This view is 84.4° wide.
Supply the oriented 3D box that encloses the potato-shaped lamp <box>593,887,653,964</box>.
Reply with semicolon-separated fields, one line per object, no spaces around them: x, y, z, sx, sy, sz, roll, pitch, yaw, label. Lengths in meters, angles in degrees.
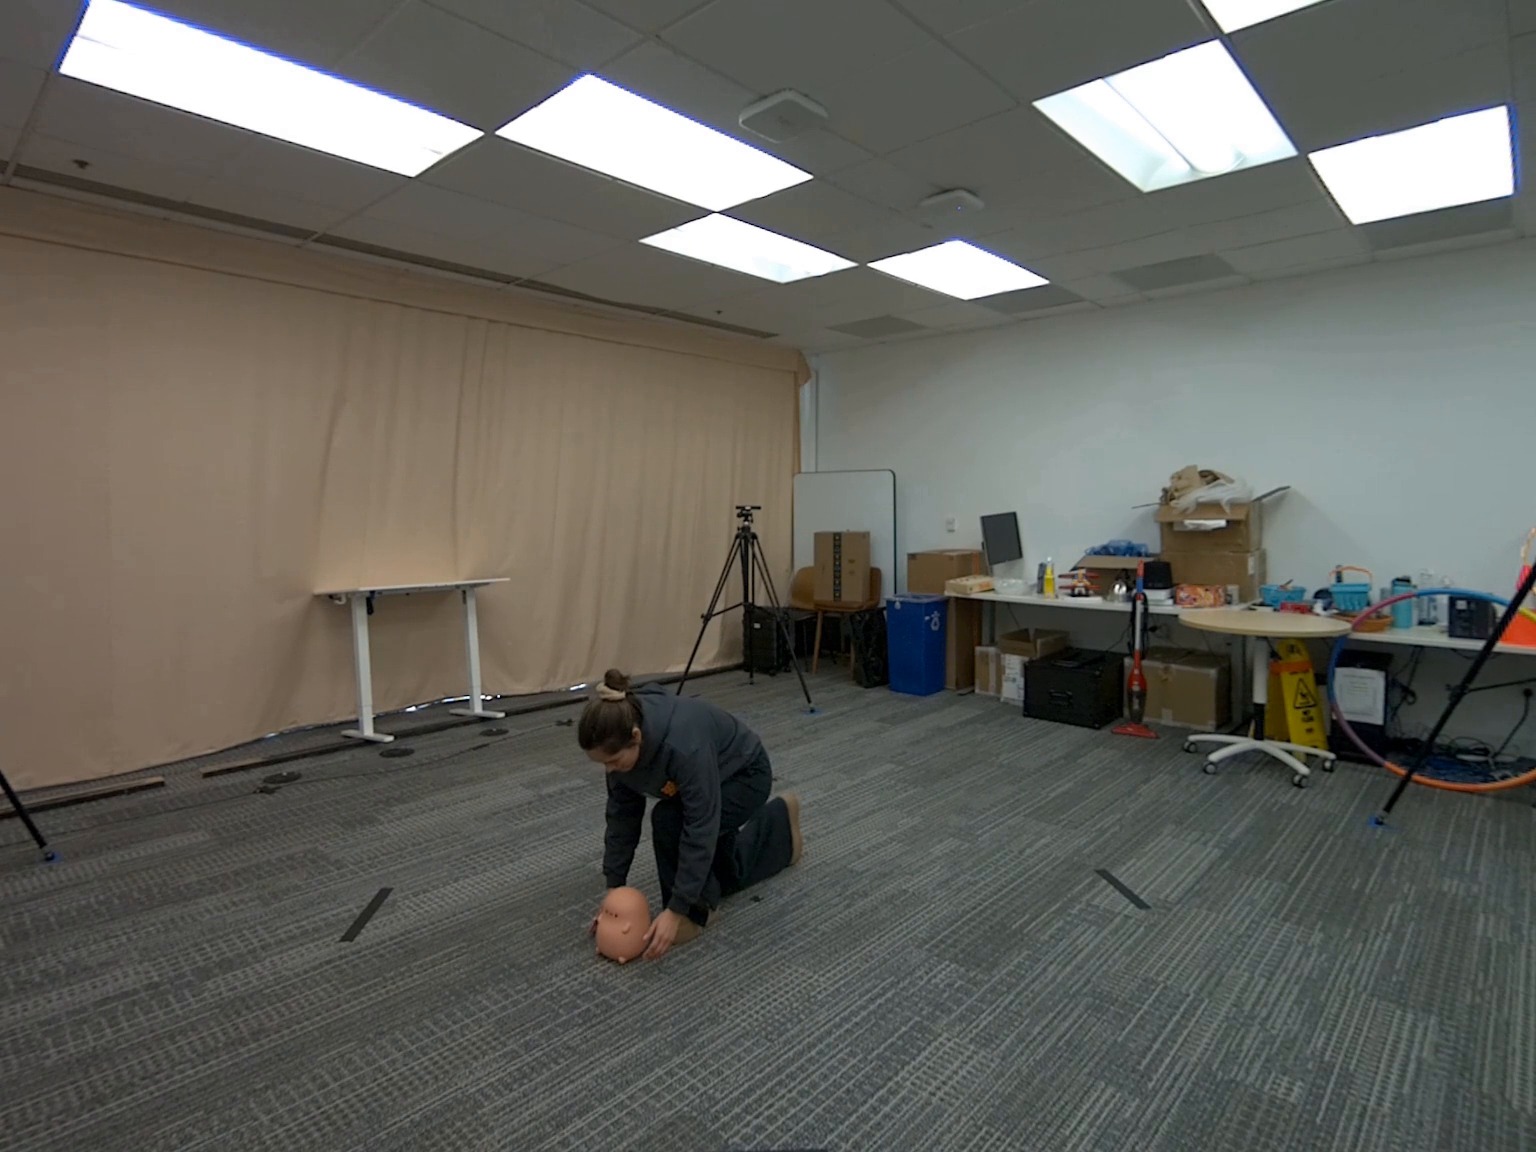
-0.433;1.078;2.635;0.170;0.198;0.166;6;2;33;potato-shaped lamp
